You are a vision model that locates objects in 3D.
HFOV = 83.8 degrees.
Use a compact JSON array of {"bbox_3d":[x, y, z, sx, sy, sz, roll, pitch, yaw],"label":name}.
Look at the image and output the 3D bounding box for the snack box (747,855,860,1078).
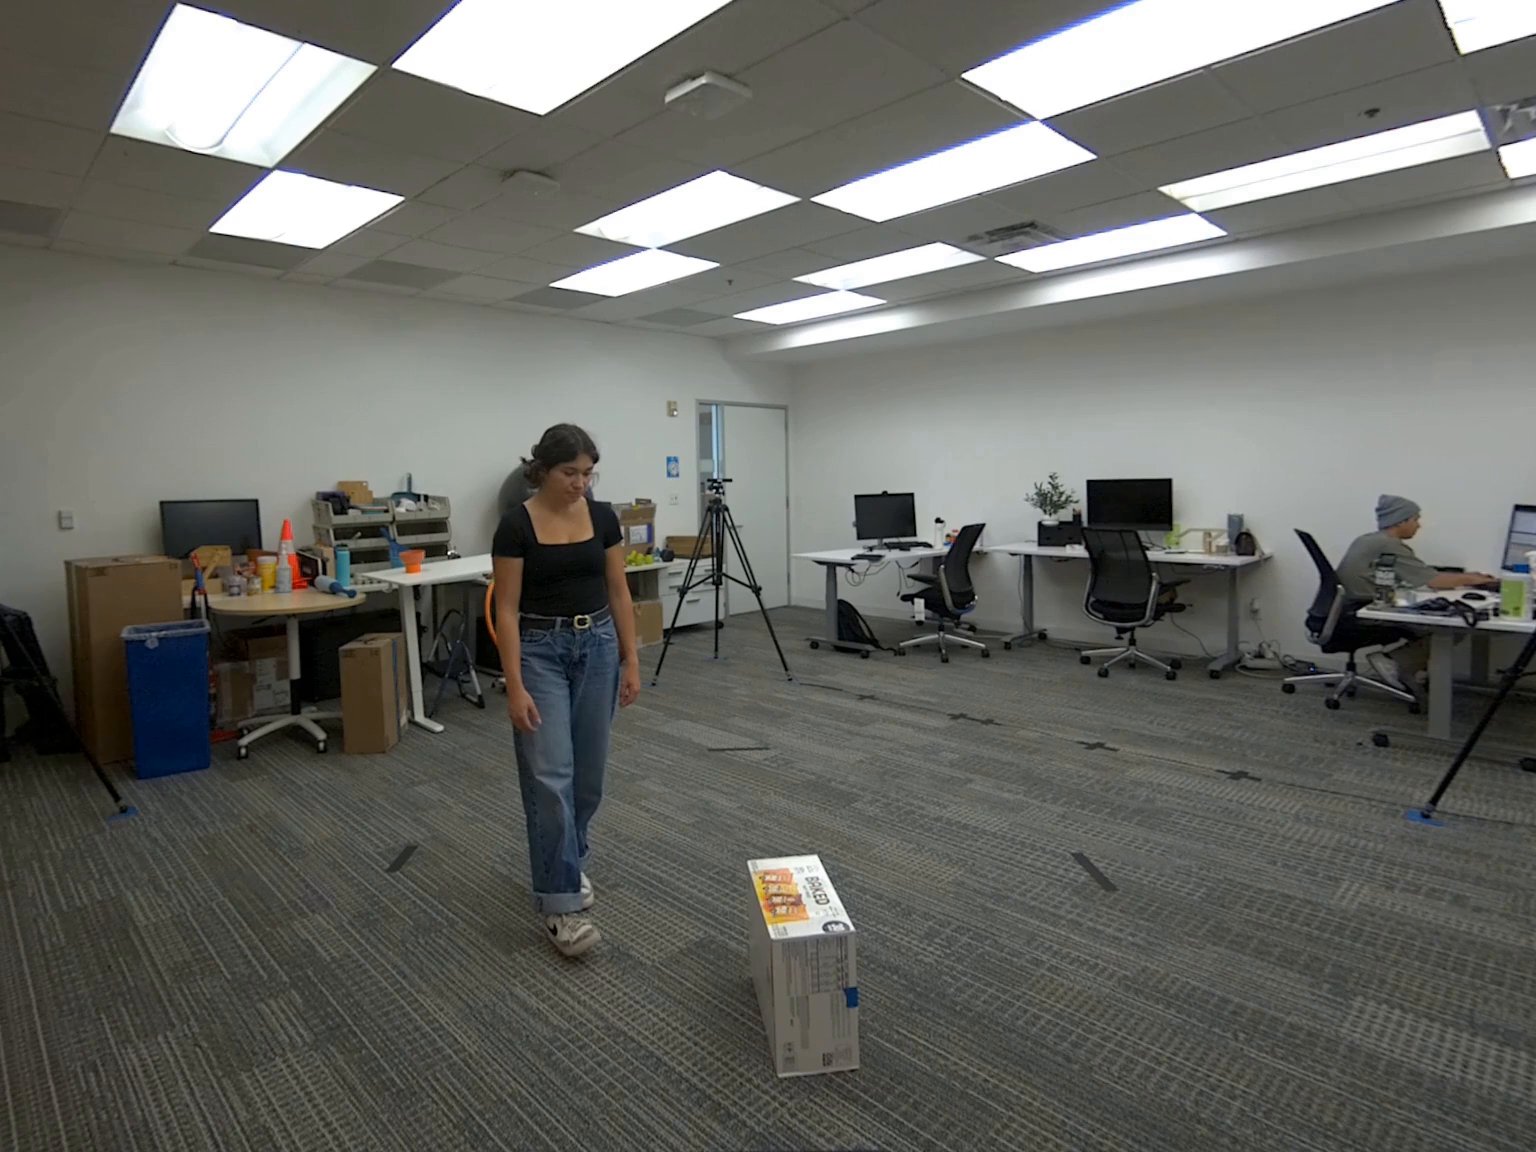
[{"bbox_3d":[0.086,0.981,2.190,0.204,0.339,0.409,-4,5,-8],"label":"snack box"}]
